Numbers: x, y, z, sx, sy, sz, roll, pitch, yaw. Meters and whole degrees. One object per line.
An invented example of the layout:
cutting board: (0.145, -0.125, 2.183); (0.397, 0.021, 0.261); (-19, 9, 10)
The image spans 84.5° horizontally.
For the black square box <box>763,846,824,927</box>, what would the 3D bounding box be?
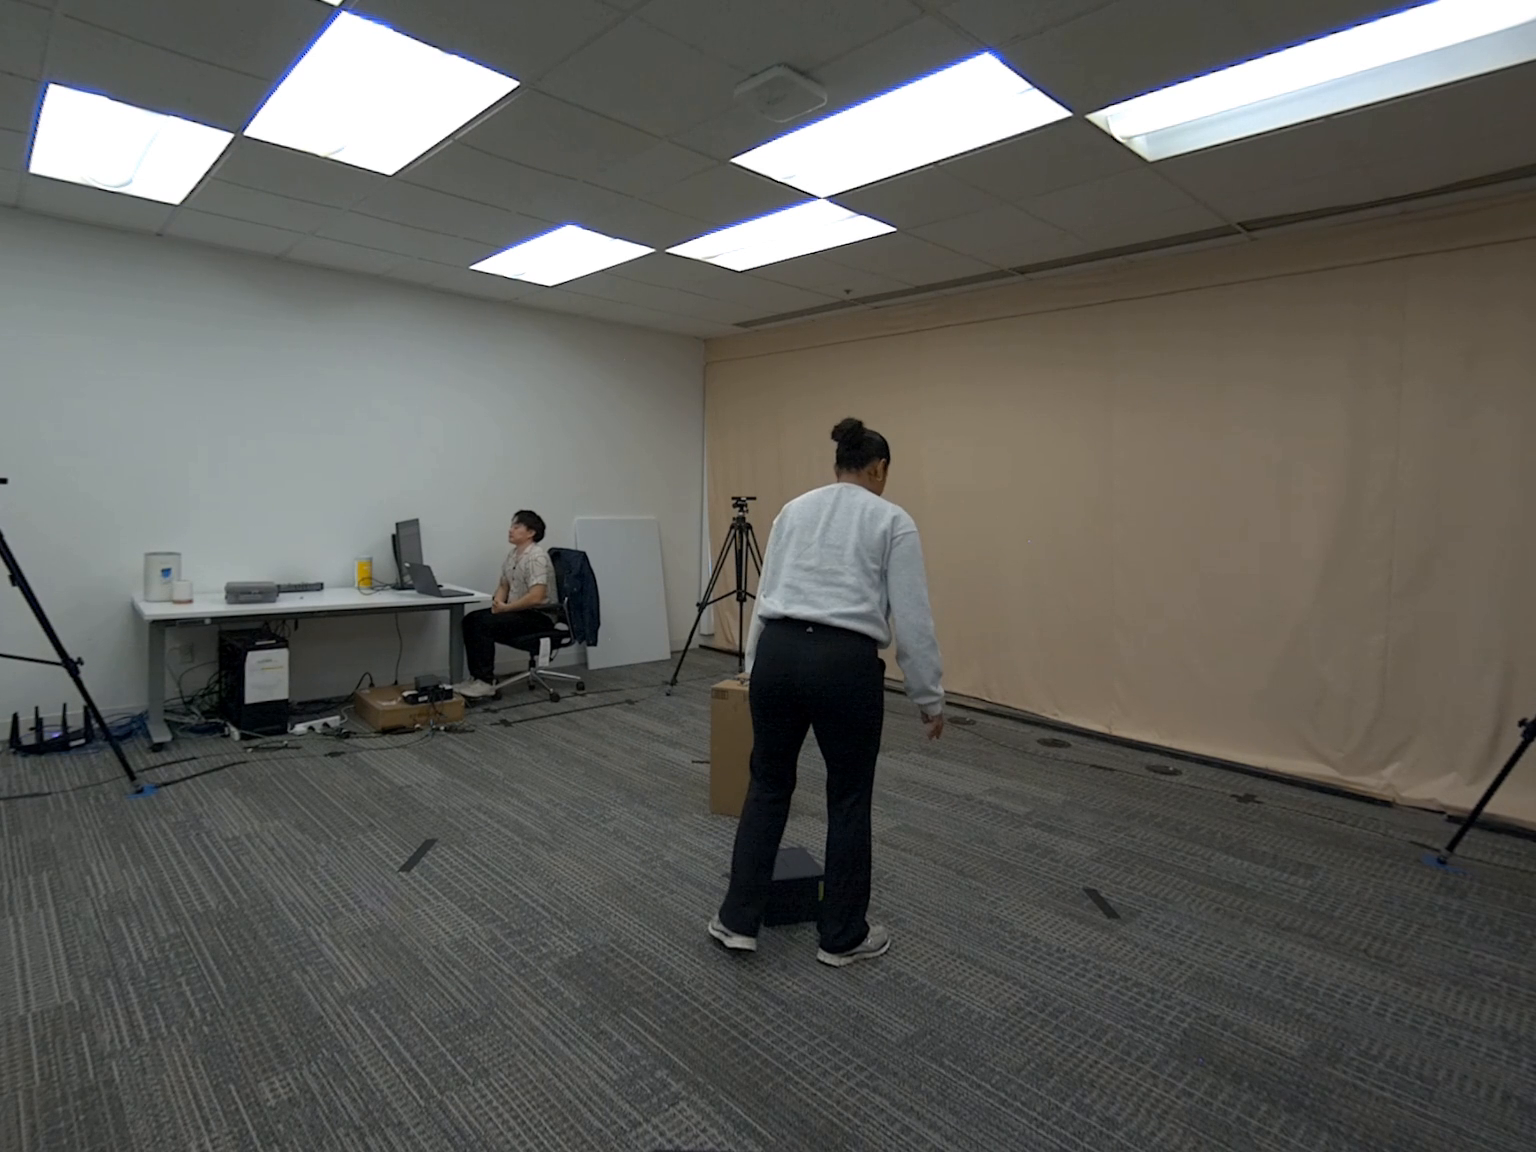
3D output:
black square box: (0.047, 1.050, 2.859); (0.214, 0.155, 0.231); (0, 5, -17)
